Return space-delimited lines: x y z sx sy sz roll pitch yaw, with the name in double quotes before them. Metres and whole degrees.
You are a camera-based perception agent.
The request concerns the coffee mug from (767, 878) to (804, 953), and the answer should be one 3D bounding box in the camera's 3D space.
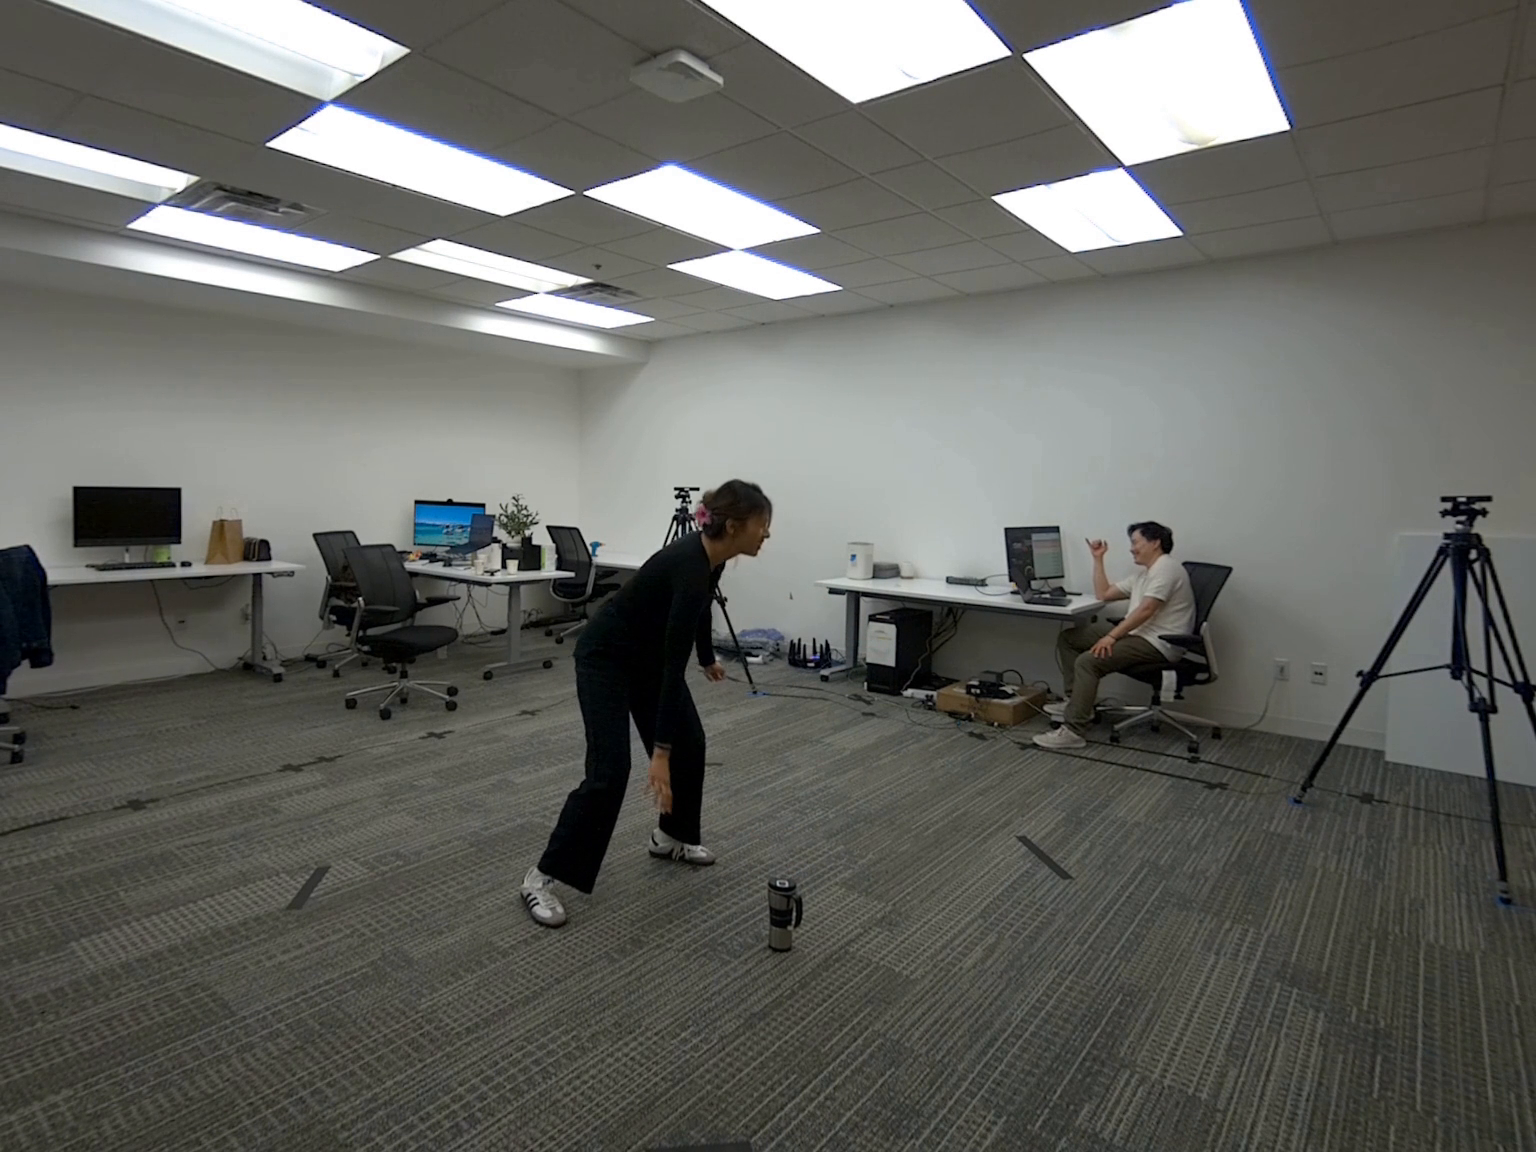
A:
"coffee mug" 0.034 1.033 2.554 0.086 0.203 0.124 2 -2 -17
